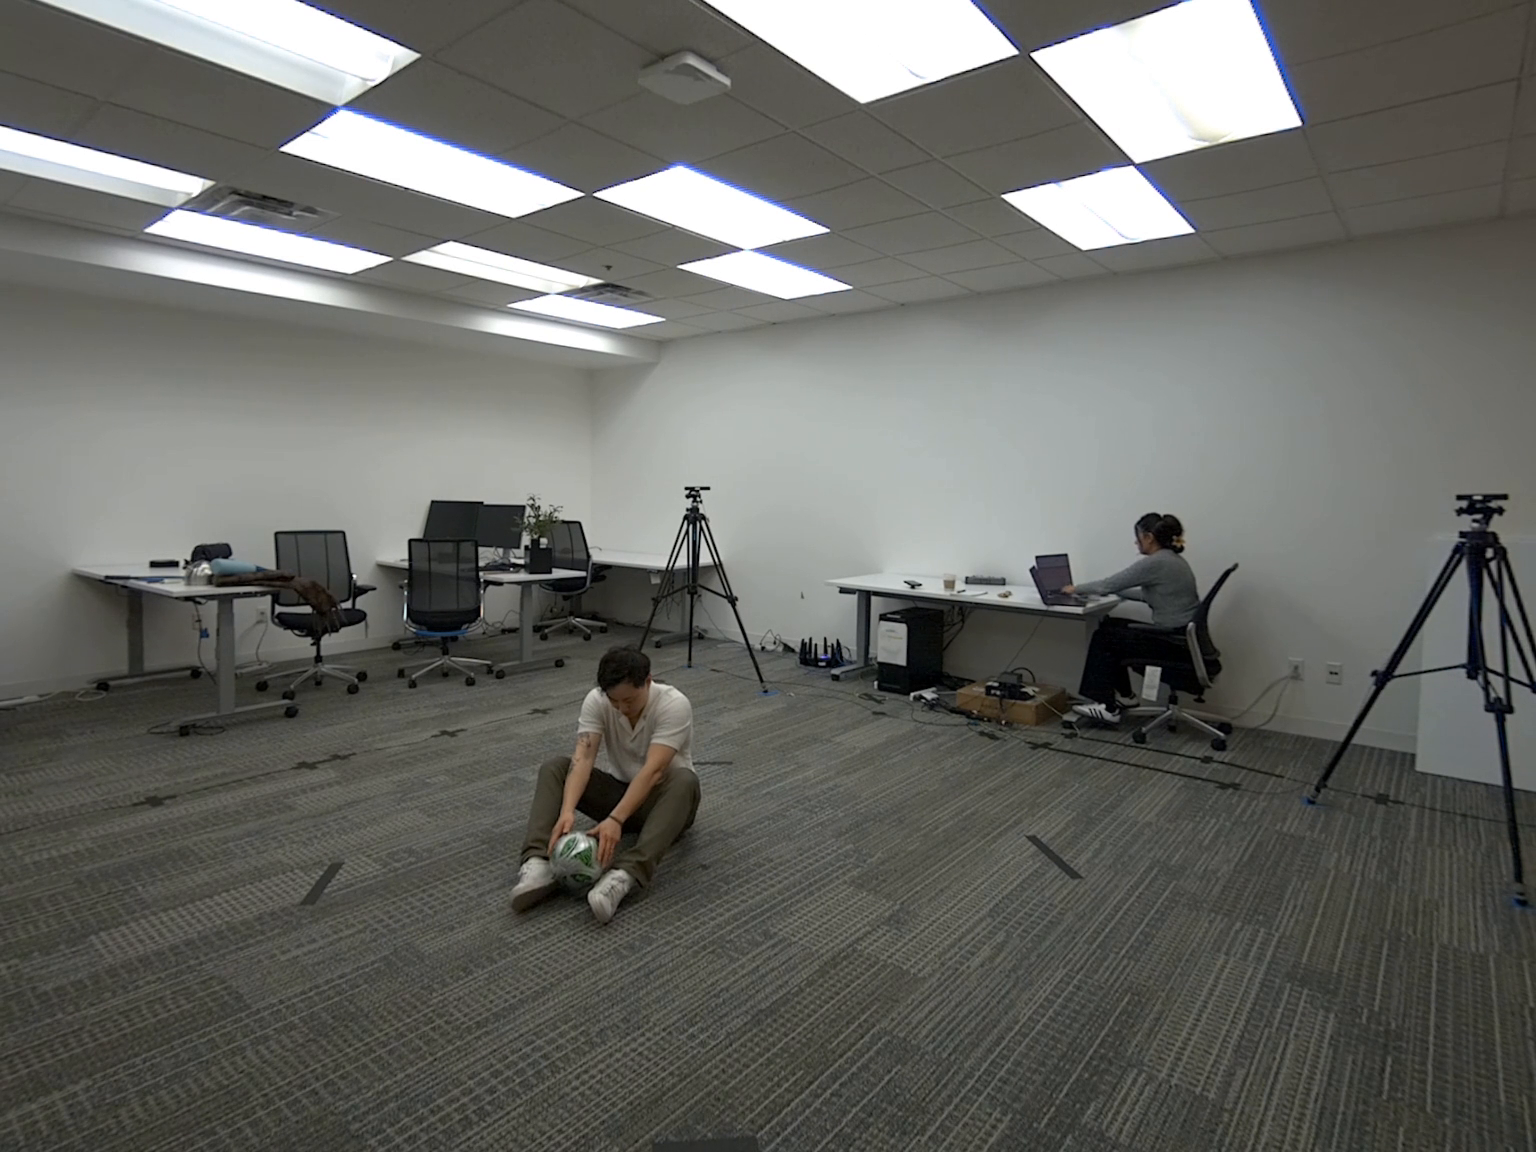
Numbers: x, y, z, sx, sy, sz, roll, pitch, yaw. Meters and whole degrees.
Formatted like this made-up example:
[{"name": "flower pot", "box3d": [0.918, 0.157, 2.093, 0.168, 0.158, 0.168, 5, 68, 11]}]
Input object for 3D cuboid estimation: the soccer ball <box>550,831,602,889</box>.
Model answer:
[{"name": "soccer ball", "box3d": [-0.655, 0.954, 2.871, 0.187, 0.187, 0.188, 1, 4, -2]}]
